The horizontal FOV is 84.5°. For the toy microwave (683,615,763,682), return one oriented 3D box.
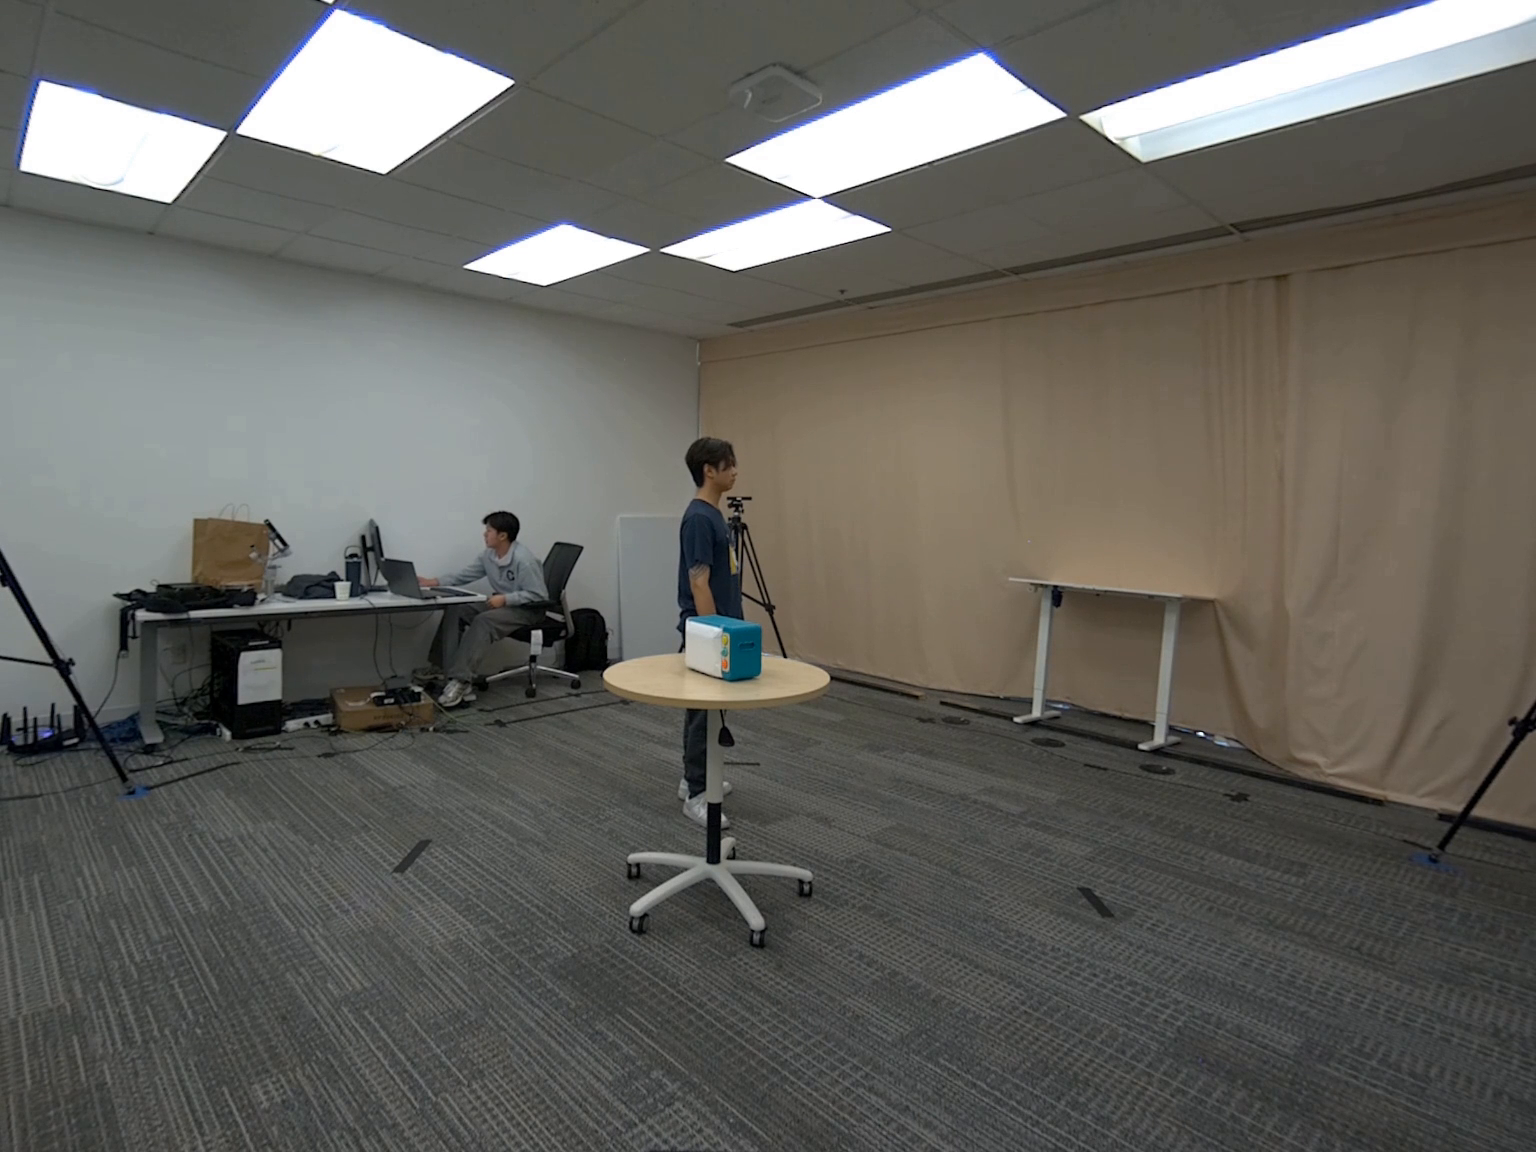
[{"bbox_3d":[-0.165,0.246,2.833,0.149,0.183,0.293,-2,5,-37],"label":"toy microwave"}]
